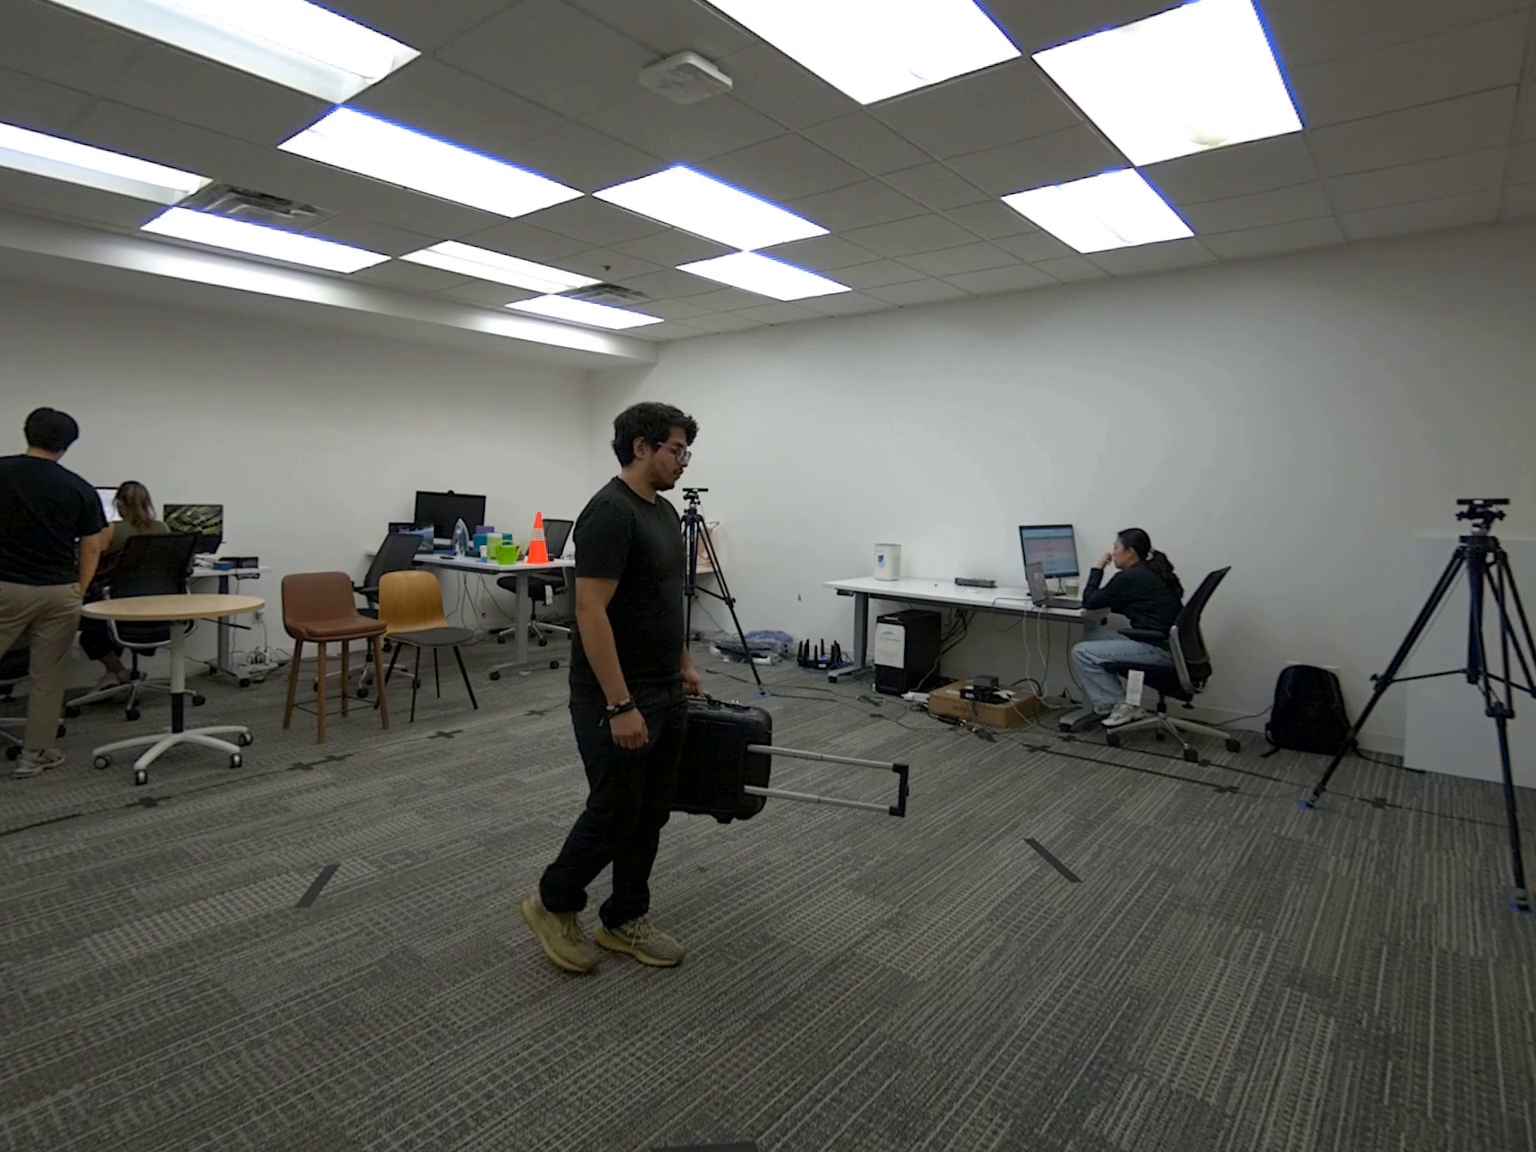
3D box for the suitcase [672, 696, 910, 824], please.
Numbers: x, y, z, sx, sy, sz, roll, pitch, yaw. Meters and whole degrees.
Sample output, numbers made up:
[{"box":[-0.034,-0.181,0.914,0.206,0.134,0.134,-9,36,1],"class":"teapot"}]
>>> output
[{"box":[-0.065,0.600,2.786,0.990,0.385,0.253,4,-2,10],"class":"suitcase"}]
